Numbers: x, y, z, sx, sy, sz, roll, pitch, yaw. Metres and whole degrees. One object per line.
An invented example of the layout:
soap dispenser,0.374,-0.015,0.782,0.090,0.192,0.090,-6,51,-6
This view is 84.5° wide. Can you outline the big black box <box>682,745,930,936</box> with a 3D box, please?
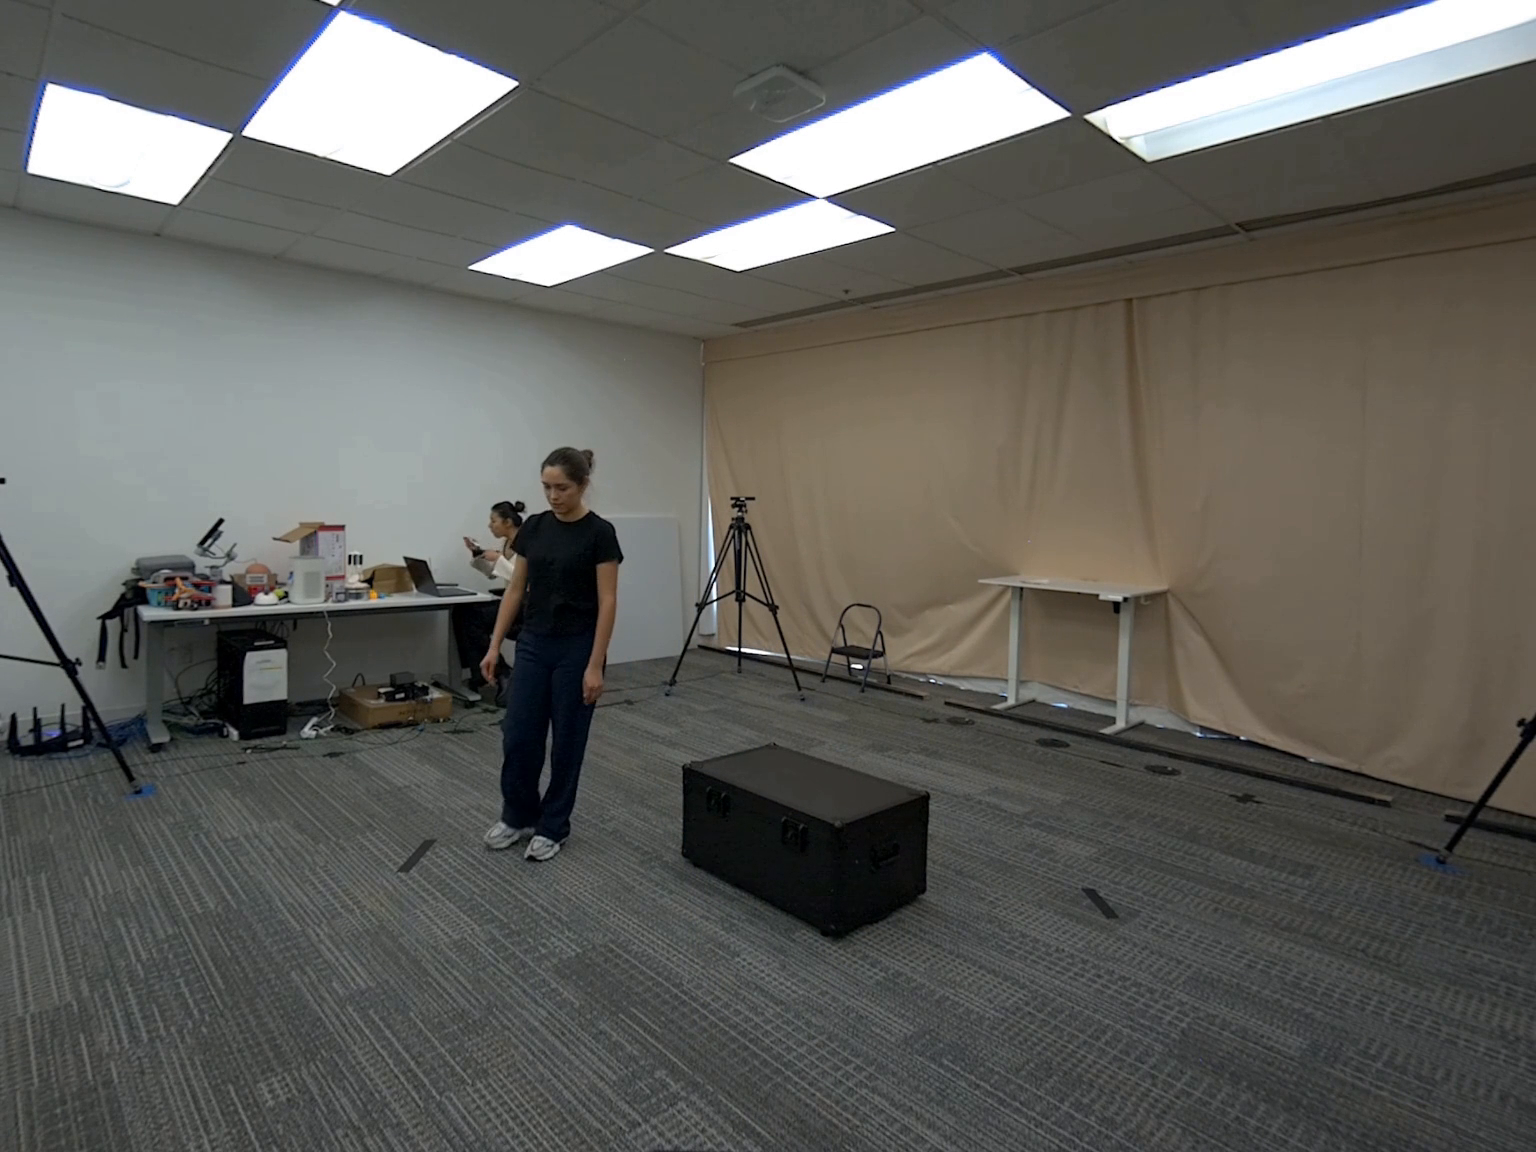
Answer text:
big black box,0.093,0.925,3.085,0.509,0.395,0.884,-2,6,-44
